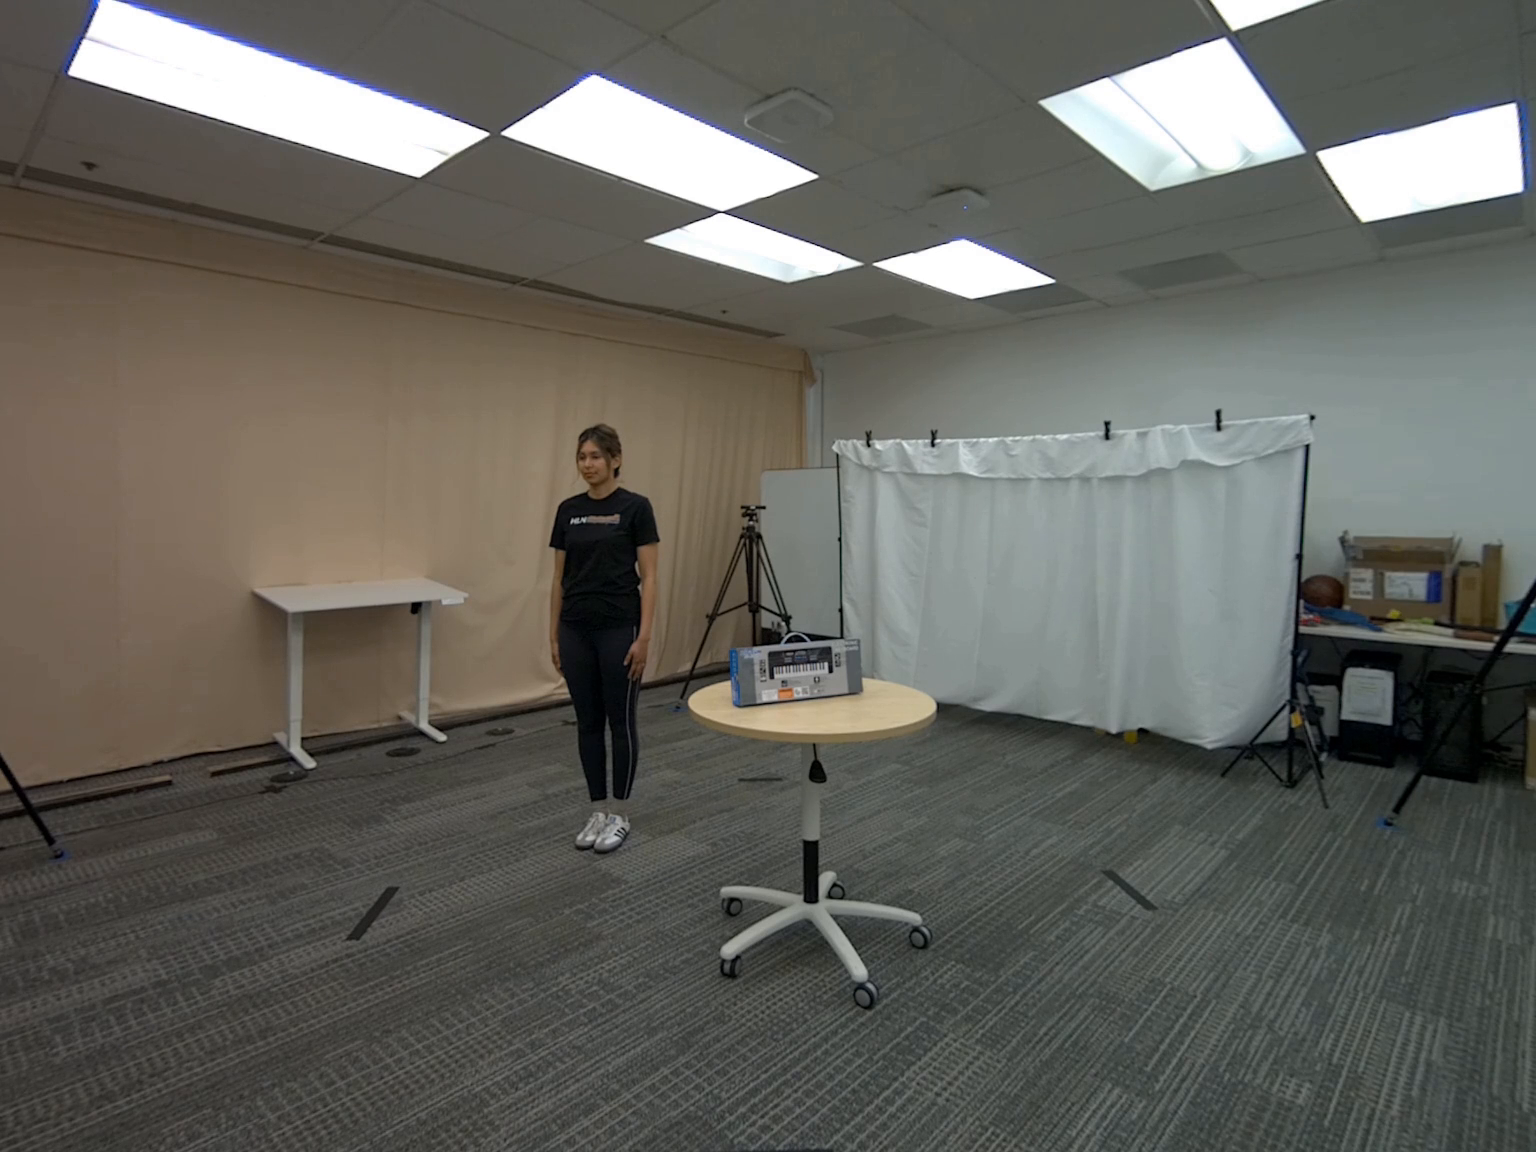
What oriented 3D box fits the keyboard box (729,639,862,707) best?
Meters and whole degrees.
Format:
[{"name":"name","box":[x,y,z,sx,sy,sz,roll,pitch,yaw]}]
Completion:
[{"name":"keyboard box","box":[0.101,0.301,2.647,0.427,0.176,0.060,-3,-4,-22]}]
